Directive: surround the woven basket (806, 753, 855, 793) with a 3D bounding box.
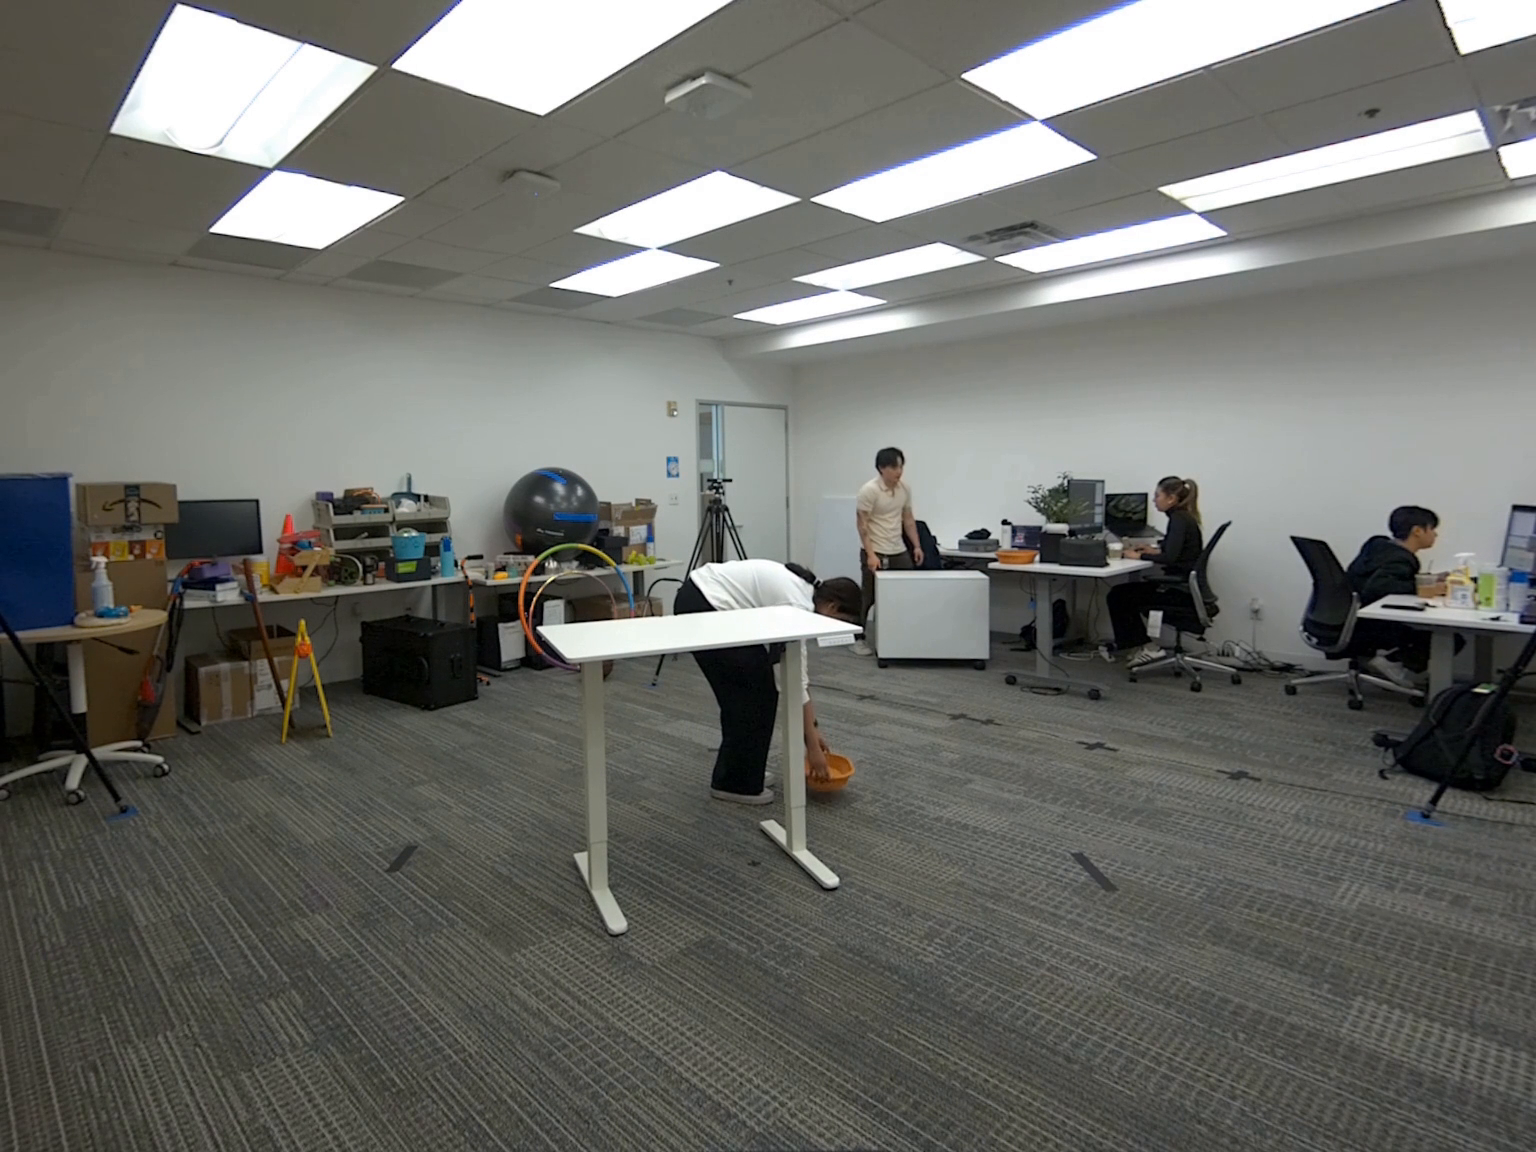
[{"bbox_3d":[0.244,0.856,3.775,0.252,0.073,0.352,-1,7,-1],"label":"woven basket"}]
